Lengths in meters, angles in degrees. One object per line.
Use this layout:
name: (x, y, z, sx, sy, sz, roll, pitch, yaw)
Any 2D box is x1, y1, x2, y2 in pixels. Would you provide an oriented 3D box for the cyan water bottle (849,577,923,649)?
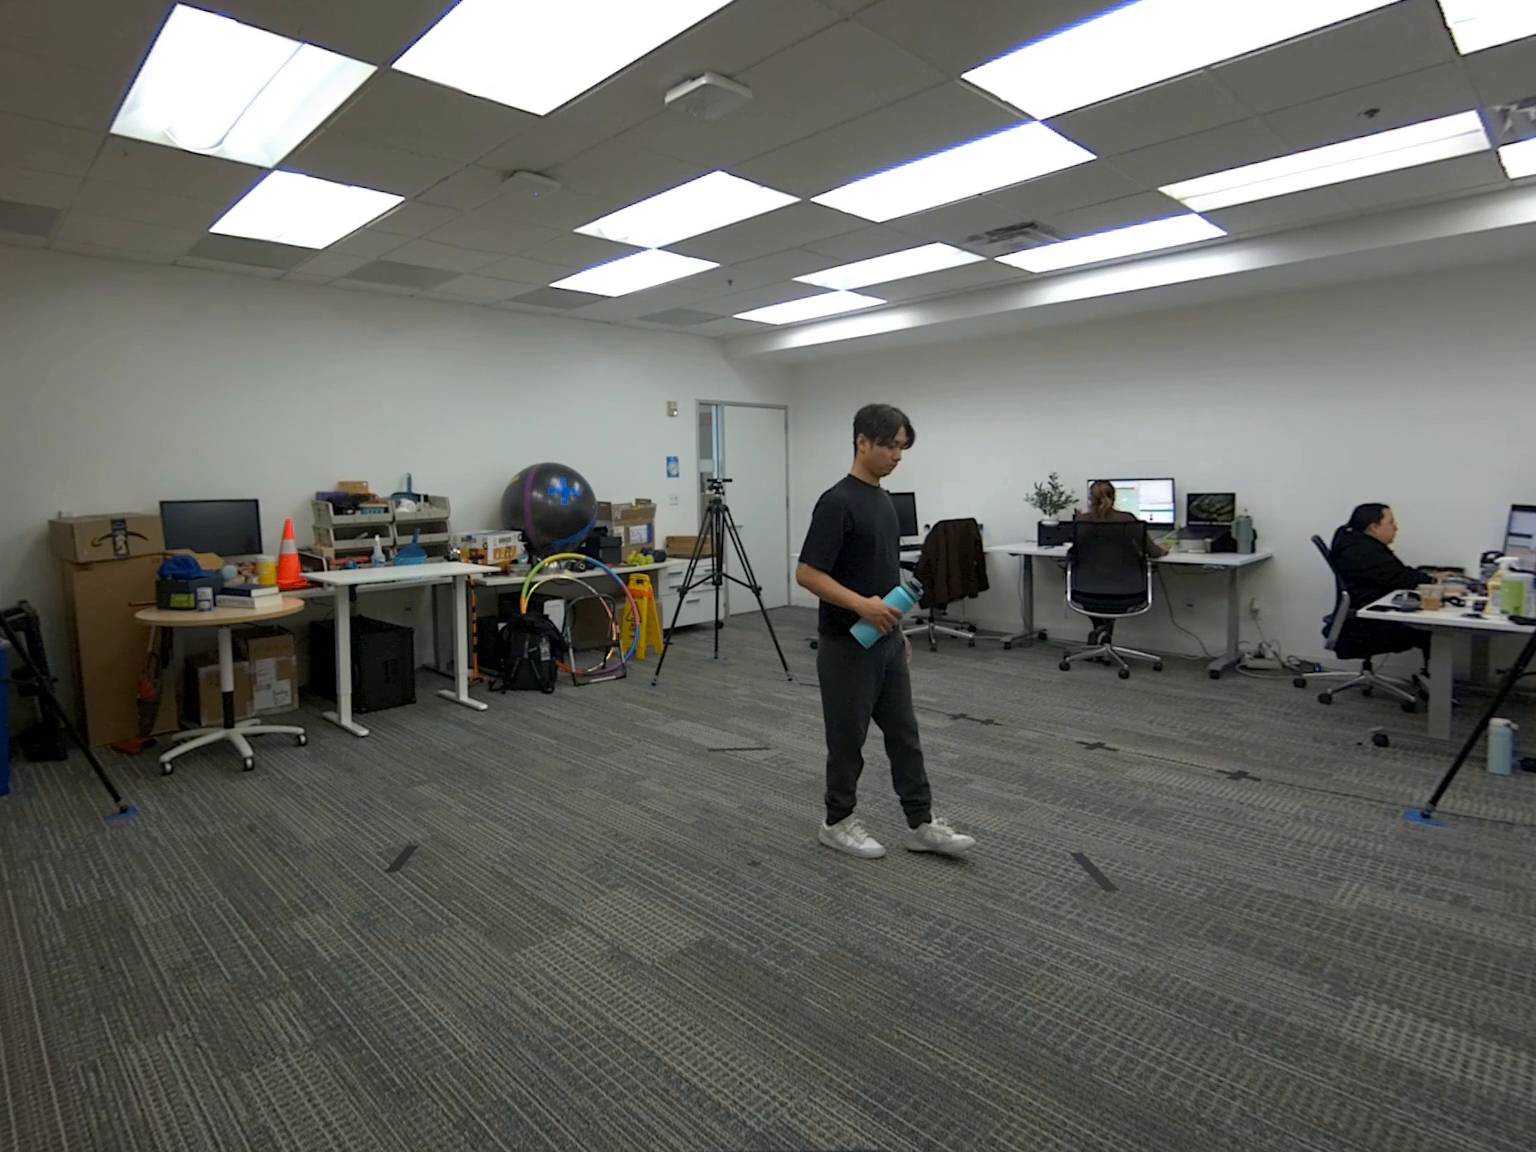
cyan water bottle: (0.407, 0.121, 2.917, 0.283, 0.092, 0.093, -43, 4, 3)
